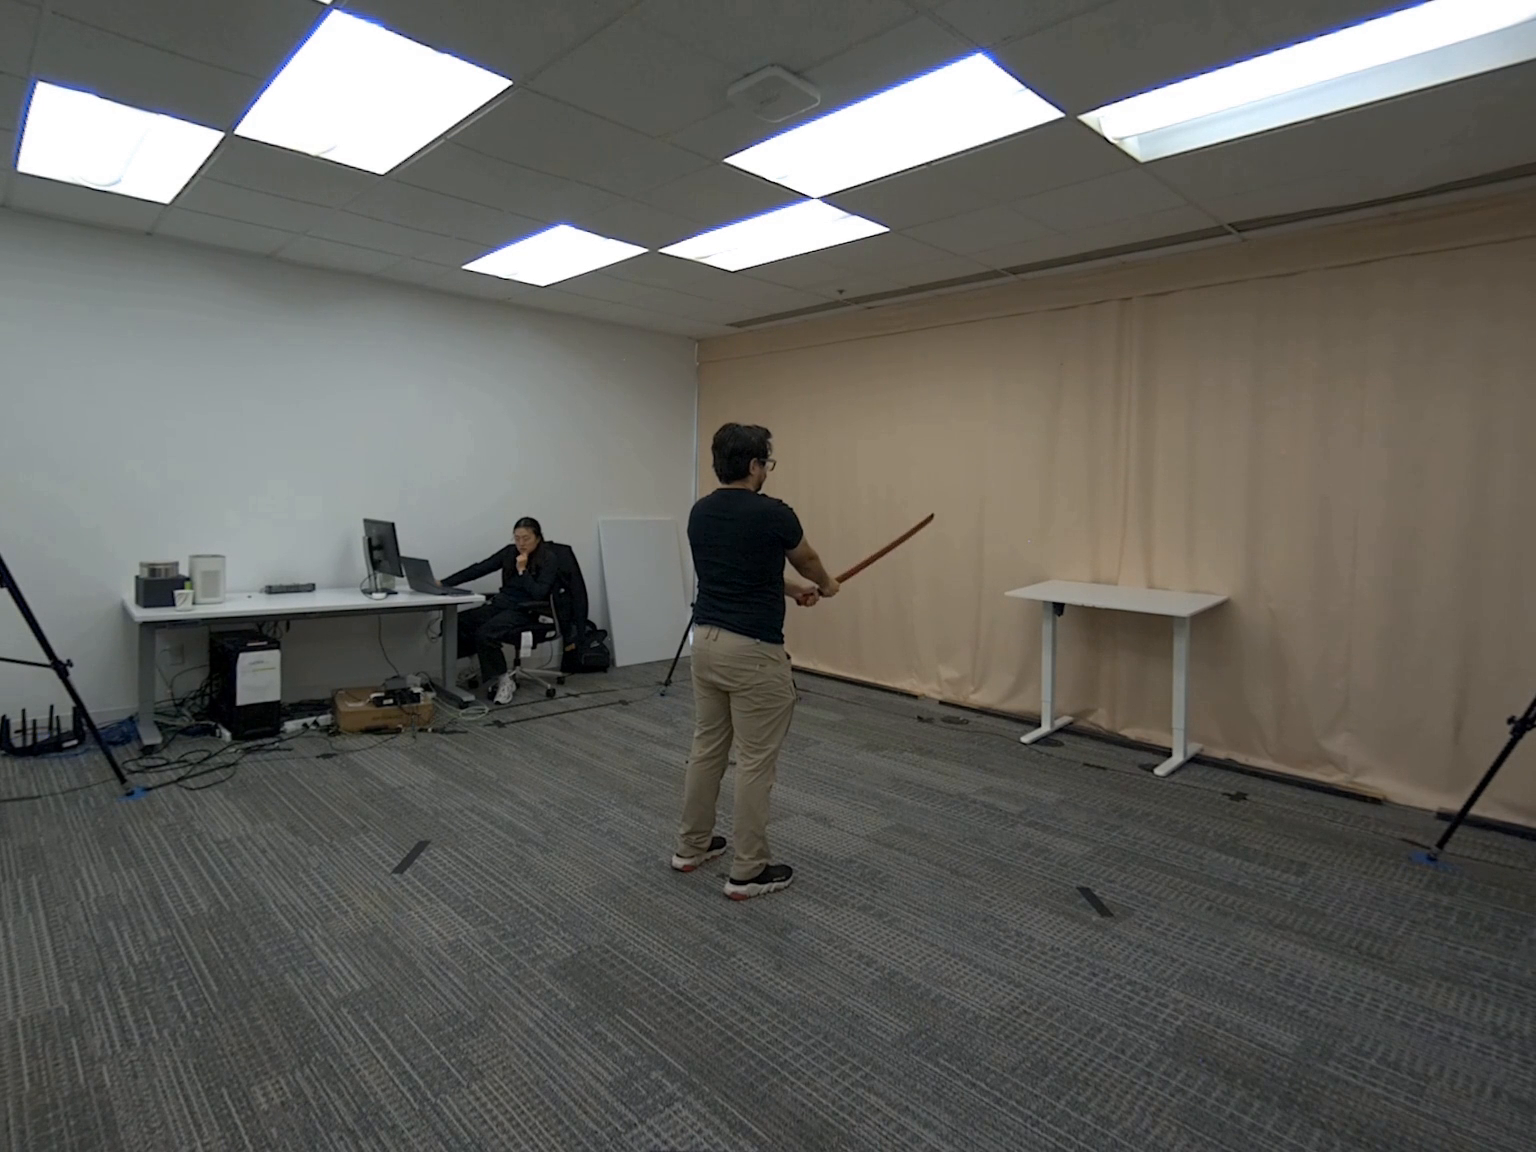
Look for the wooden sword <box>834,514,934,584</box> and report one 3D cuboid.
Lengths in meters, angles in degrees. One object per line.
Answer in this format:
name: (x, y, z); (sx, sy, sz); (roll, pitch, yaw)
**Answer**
wooden sword: (0.449, -0.077, 3.638); (0.053, 0.023, 1.015); (30, 43, 30)
